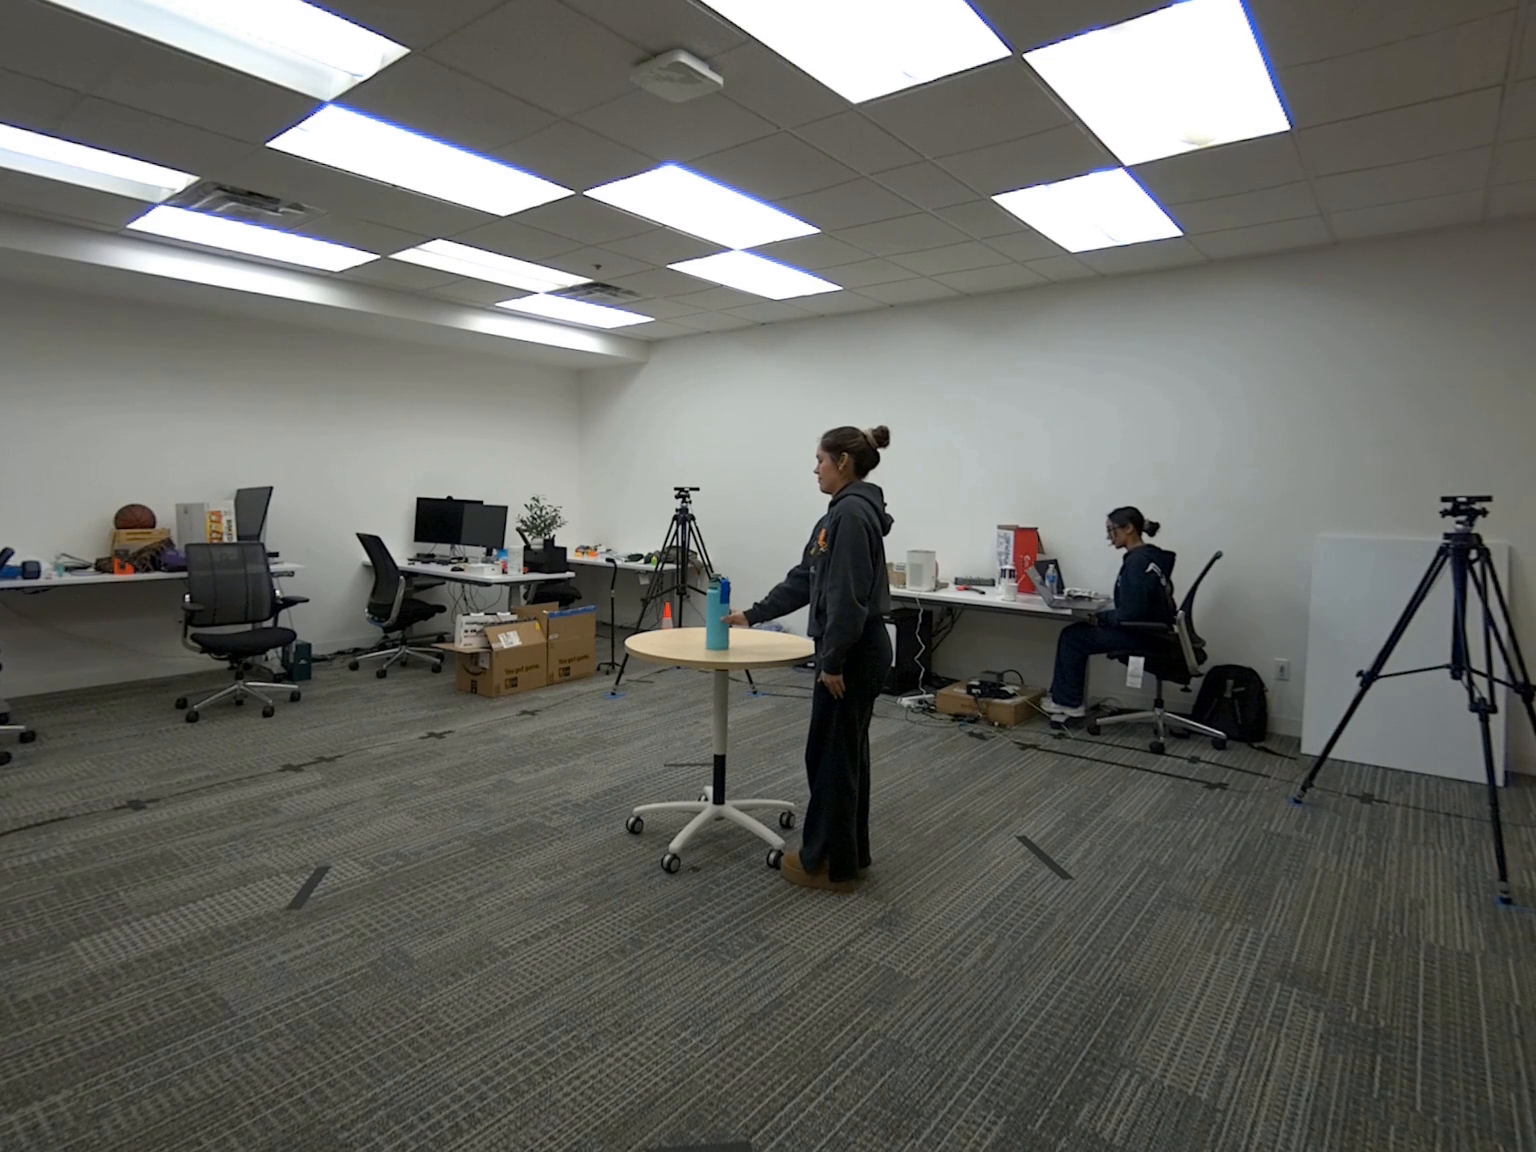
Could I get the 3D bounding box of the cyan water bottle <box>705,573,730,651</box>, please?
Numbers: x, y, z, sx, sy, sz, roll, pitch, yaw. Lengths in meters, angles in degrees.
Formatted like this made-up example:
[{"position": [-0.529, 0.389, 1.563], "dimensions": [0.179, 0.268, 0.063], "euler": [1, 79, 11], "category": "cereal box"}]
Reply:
[{"position": [-0.192, 0.134, 3.231], "dimensions": [0.092, 0.282, 0.093], "euler": [1, 5, -2], "category": "cyan water bottle"}]
